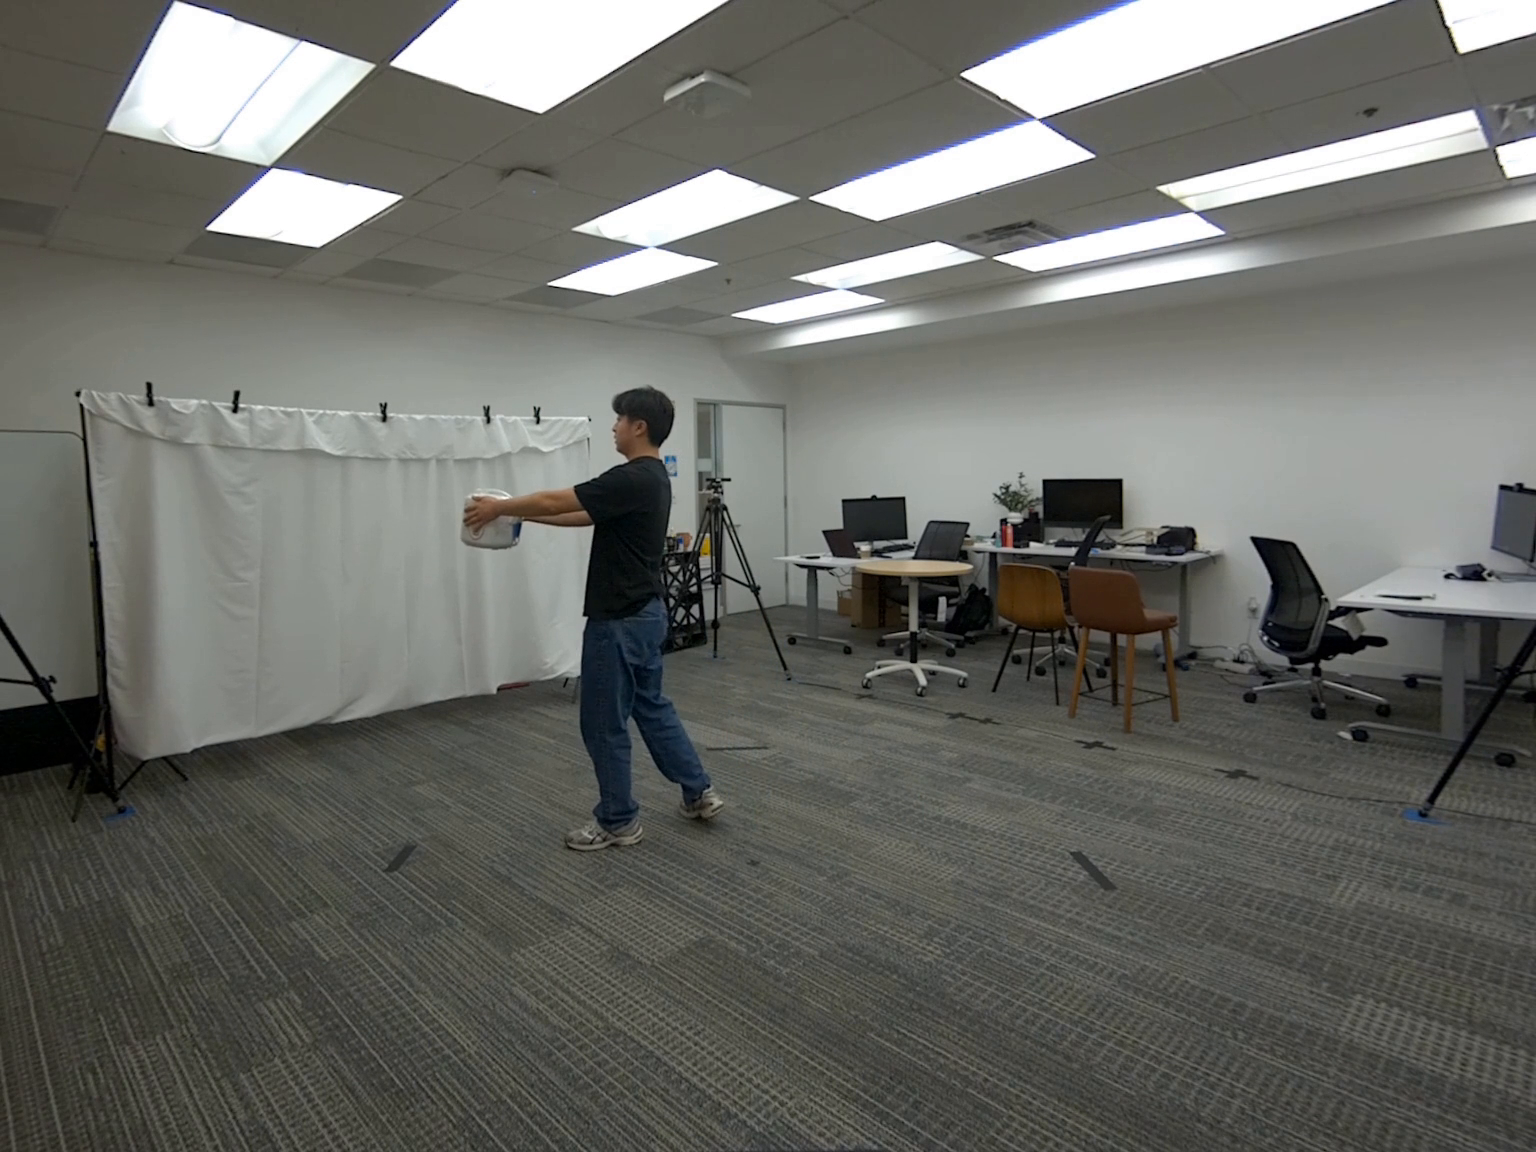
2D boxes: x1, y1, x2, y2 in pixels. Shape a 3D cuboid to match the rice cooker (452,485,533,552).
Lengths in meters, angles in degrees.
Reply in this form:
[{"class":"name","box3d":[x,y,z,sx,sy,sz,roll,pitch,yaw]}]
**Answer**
[{"class":"rice cooker","box3d":[-1.081,-0.230,3.368,0.222,0.232,0.216,6,3,6]}]
